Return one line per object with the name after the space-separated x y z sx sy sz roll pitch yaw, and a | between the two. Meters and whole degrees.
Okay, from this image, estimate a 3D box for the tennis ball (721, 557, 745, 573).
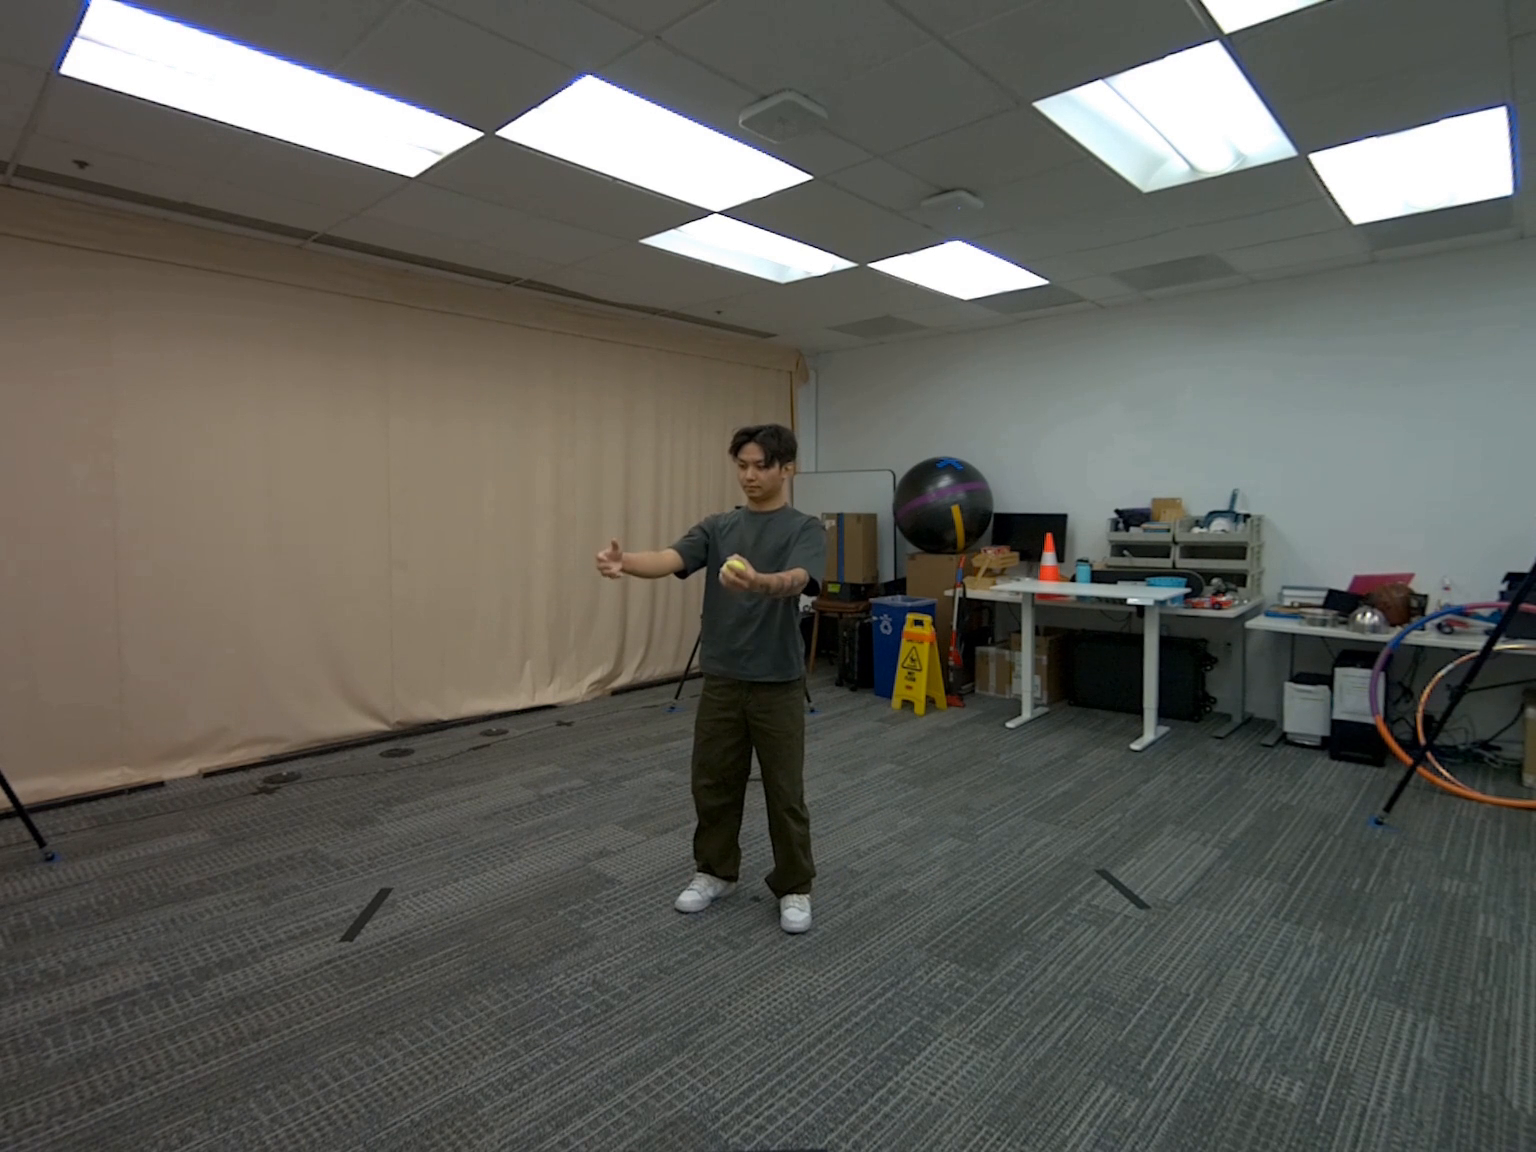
-0.084 0.000 2.373 0.066 0.066 0.067 0 4 -2 | tennis ball
